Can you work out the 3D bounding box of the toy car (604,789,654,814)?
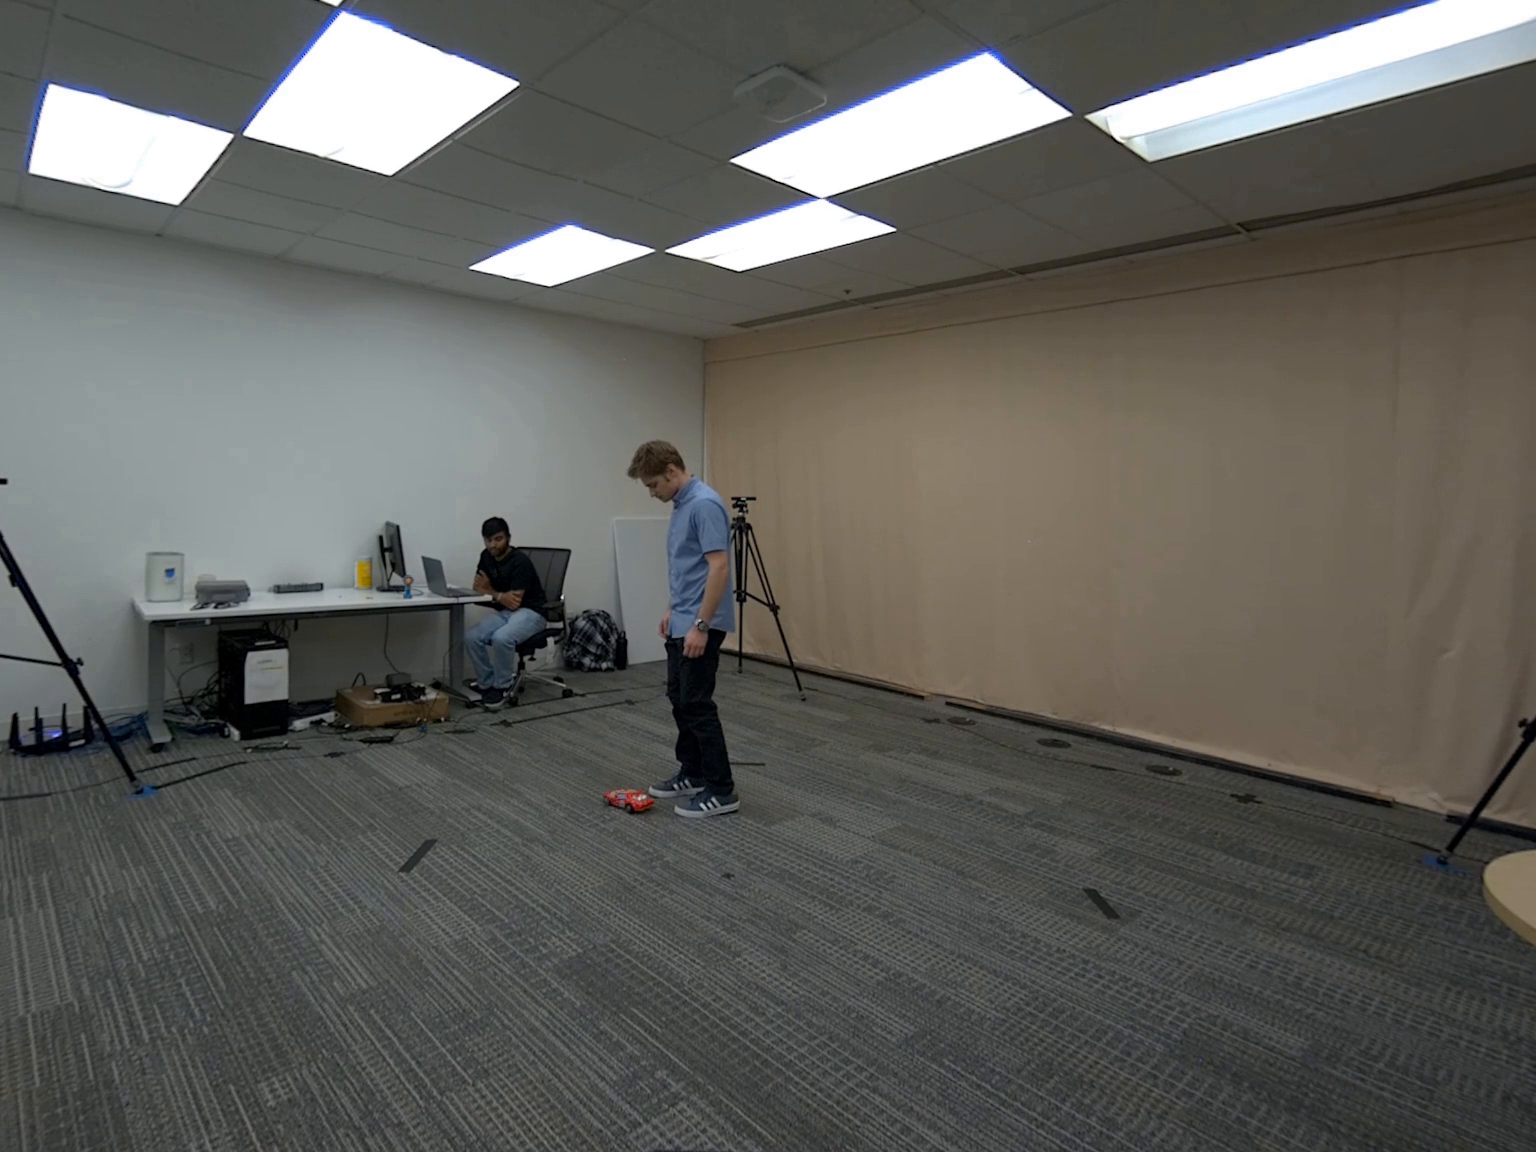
[{"bbox_3d":[-0.635,1.010,3.767,0.259,0.083,0.127,-7,-3,36],"label":"toy car"}]
